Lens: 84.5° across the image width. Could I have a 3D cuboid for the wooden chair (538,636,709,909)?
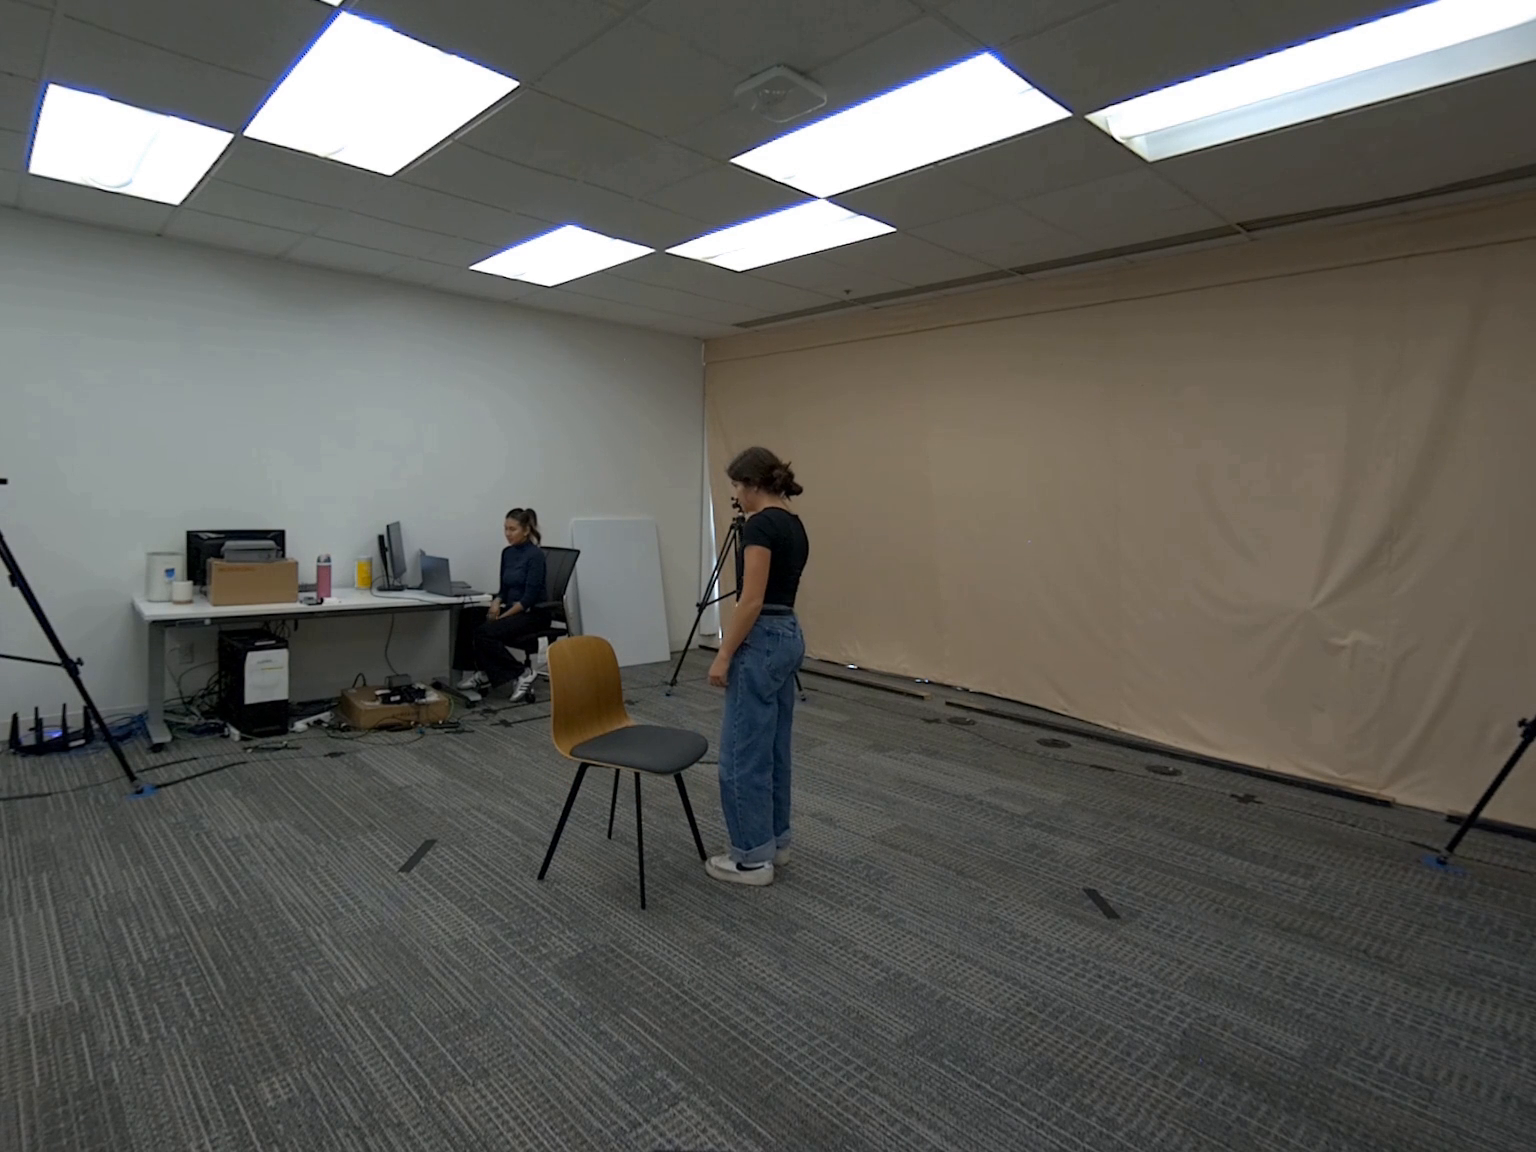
[{"bbox_3d":[-0.514,0.667,3.096,0.533,0.876,0.470,-2,2,26],"label":"wooden chair"}]
